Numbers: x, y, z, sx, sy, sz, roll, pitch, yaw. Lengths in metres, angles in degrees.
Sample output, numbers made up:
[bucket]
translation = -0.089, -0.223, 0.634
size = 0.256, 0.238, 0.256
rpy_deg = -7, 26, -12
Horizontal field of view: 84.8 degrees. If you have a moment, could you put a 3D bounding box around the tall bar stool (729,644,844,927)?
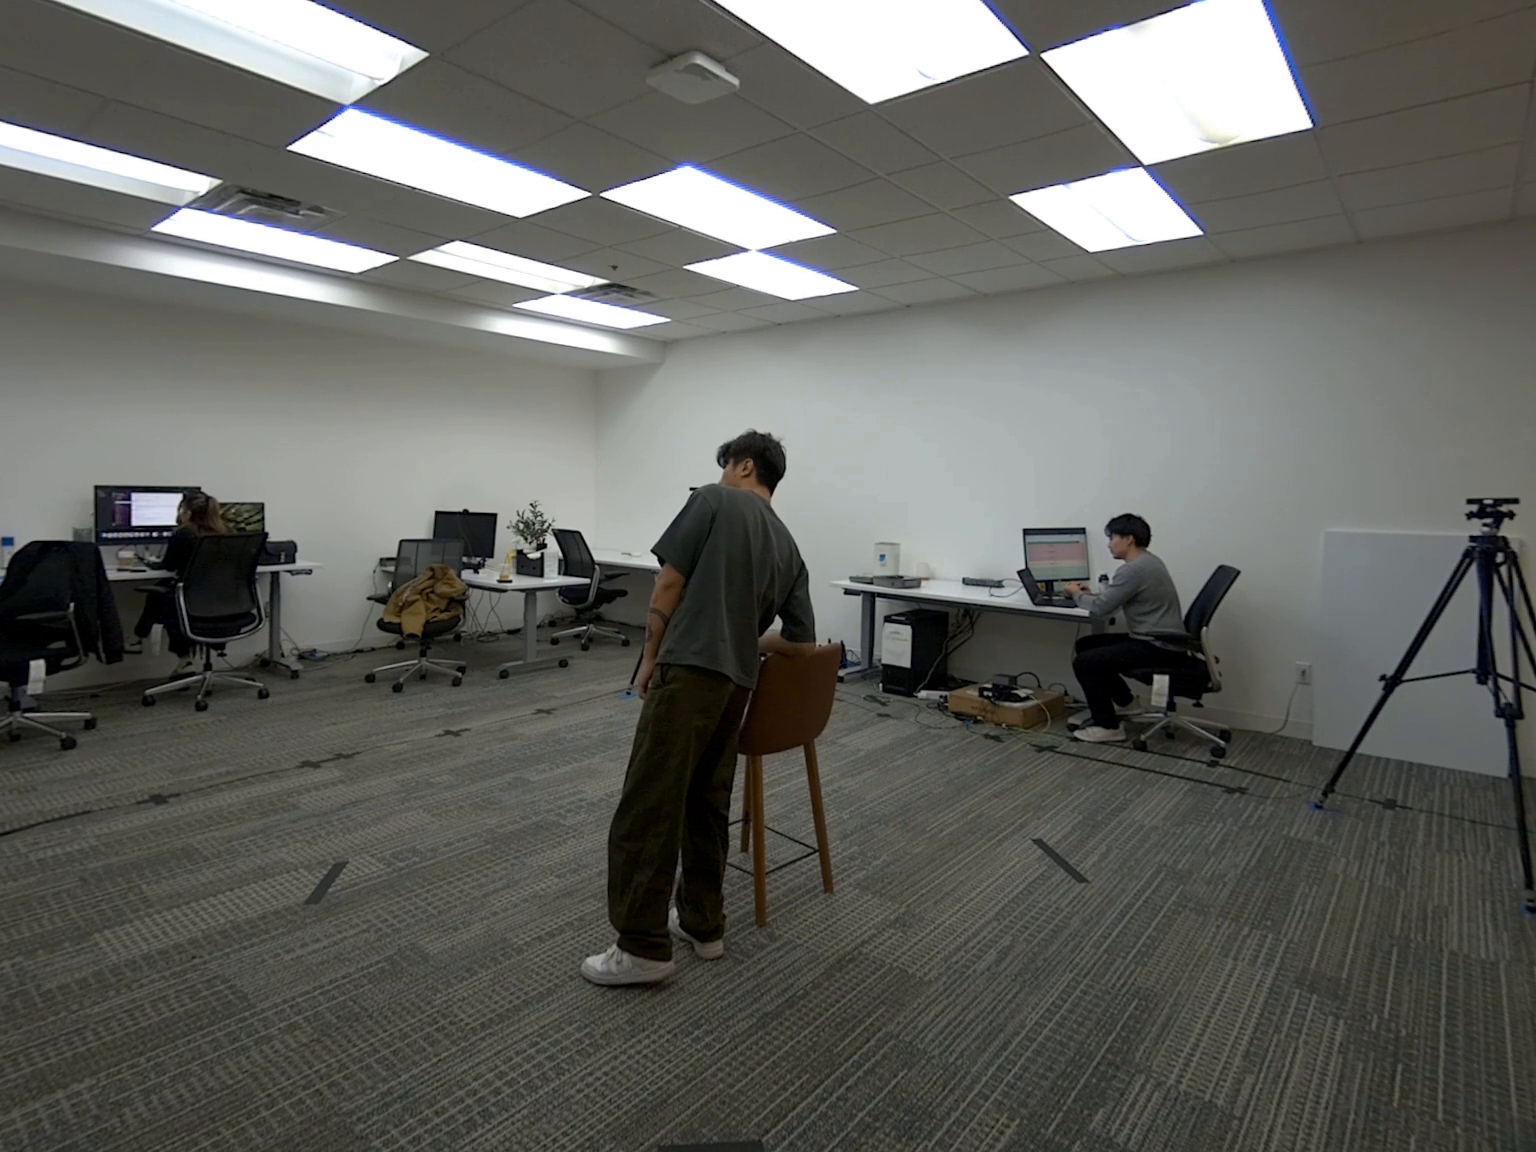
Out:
[tall bar stool]
translation = -0.047, 0.648, 2.960
size = 0.484, 0.886, 0.442
rpy_deg = 7, 6, 44
